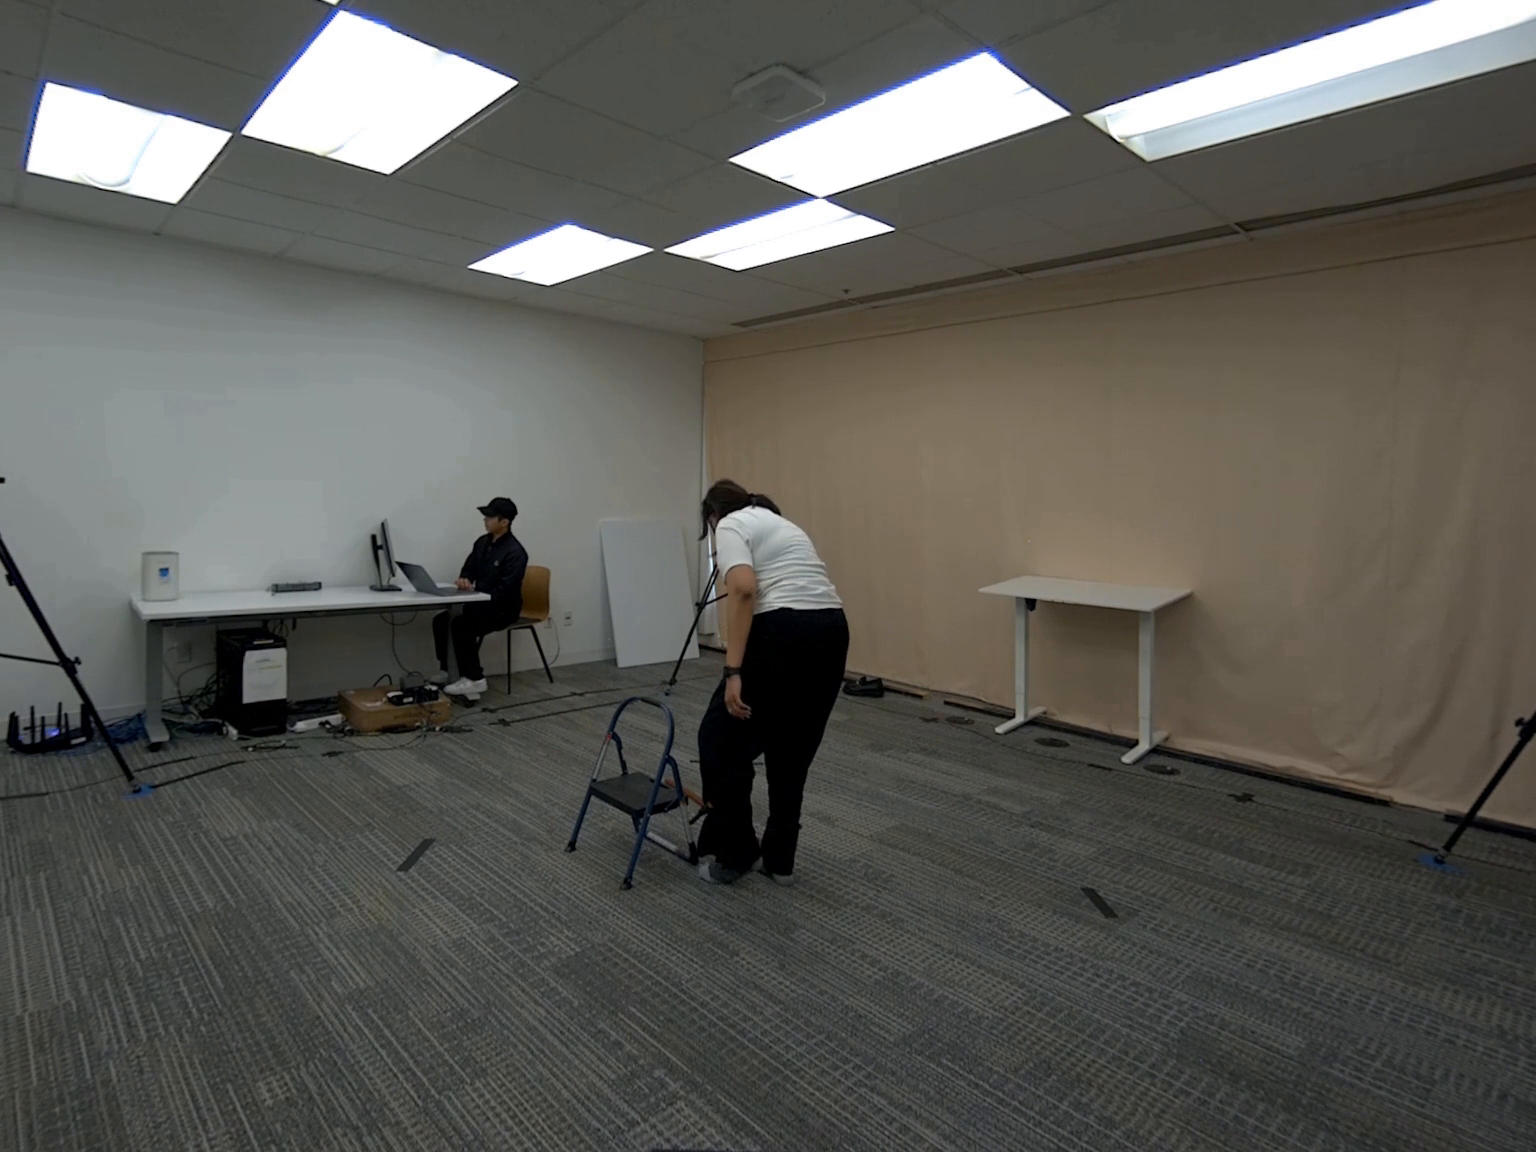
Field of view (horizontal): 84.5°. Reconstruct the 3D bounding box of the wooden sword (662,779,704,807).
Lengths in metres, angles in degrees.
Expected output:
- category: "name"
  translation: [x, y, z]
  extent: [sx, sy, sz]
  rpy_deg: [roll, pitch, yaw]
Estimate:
- category: "wooden sword"
  translation: [-0.222, 1.038, 3.661]
  extent: [0.050, 0.024, 1.048]
  rpy_deg: [9, -1, -31]
